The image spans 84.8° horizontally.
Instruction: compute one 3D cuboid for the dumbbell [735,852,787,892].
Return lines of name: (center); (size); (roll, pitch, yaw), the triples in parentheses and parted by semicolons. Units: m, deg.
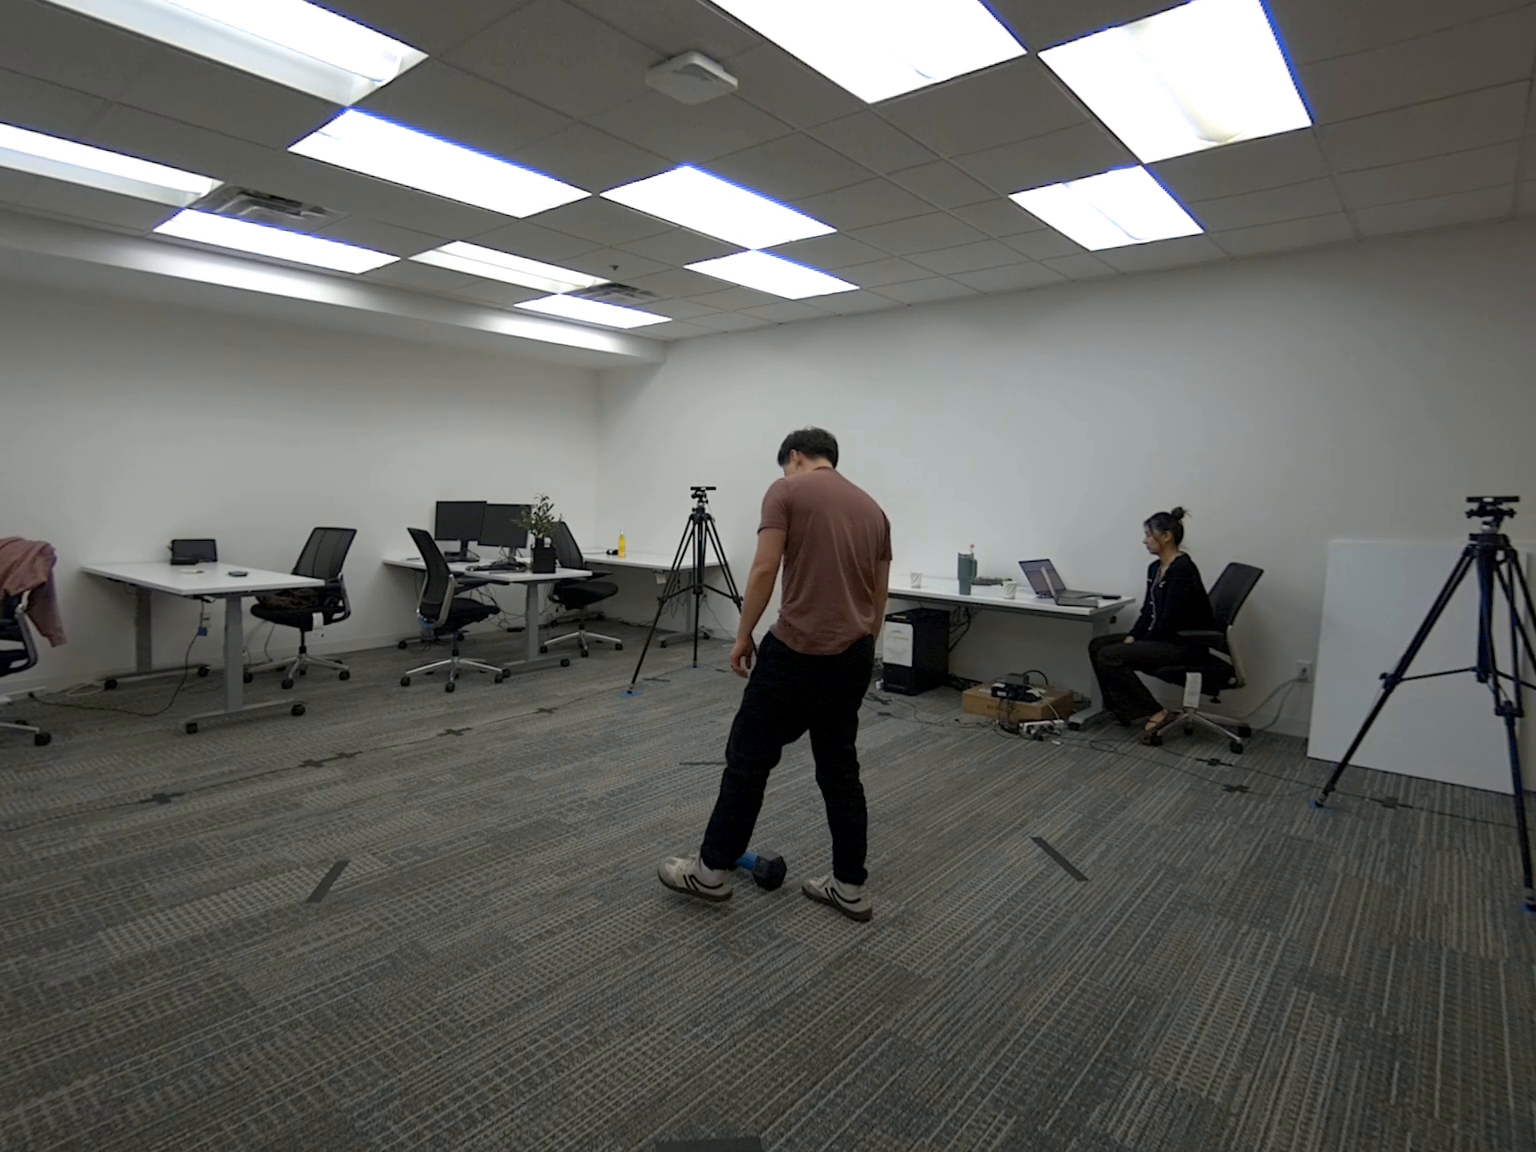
dumbbell: (-0.082, 1.016, 3.052); (0.303, 0.124, 0.104); (5, -25, 44)
